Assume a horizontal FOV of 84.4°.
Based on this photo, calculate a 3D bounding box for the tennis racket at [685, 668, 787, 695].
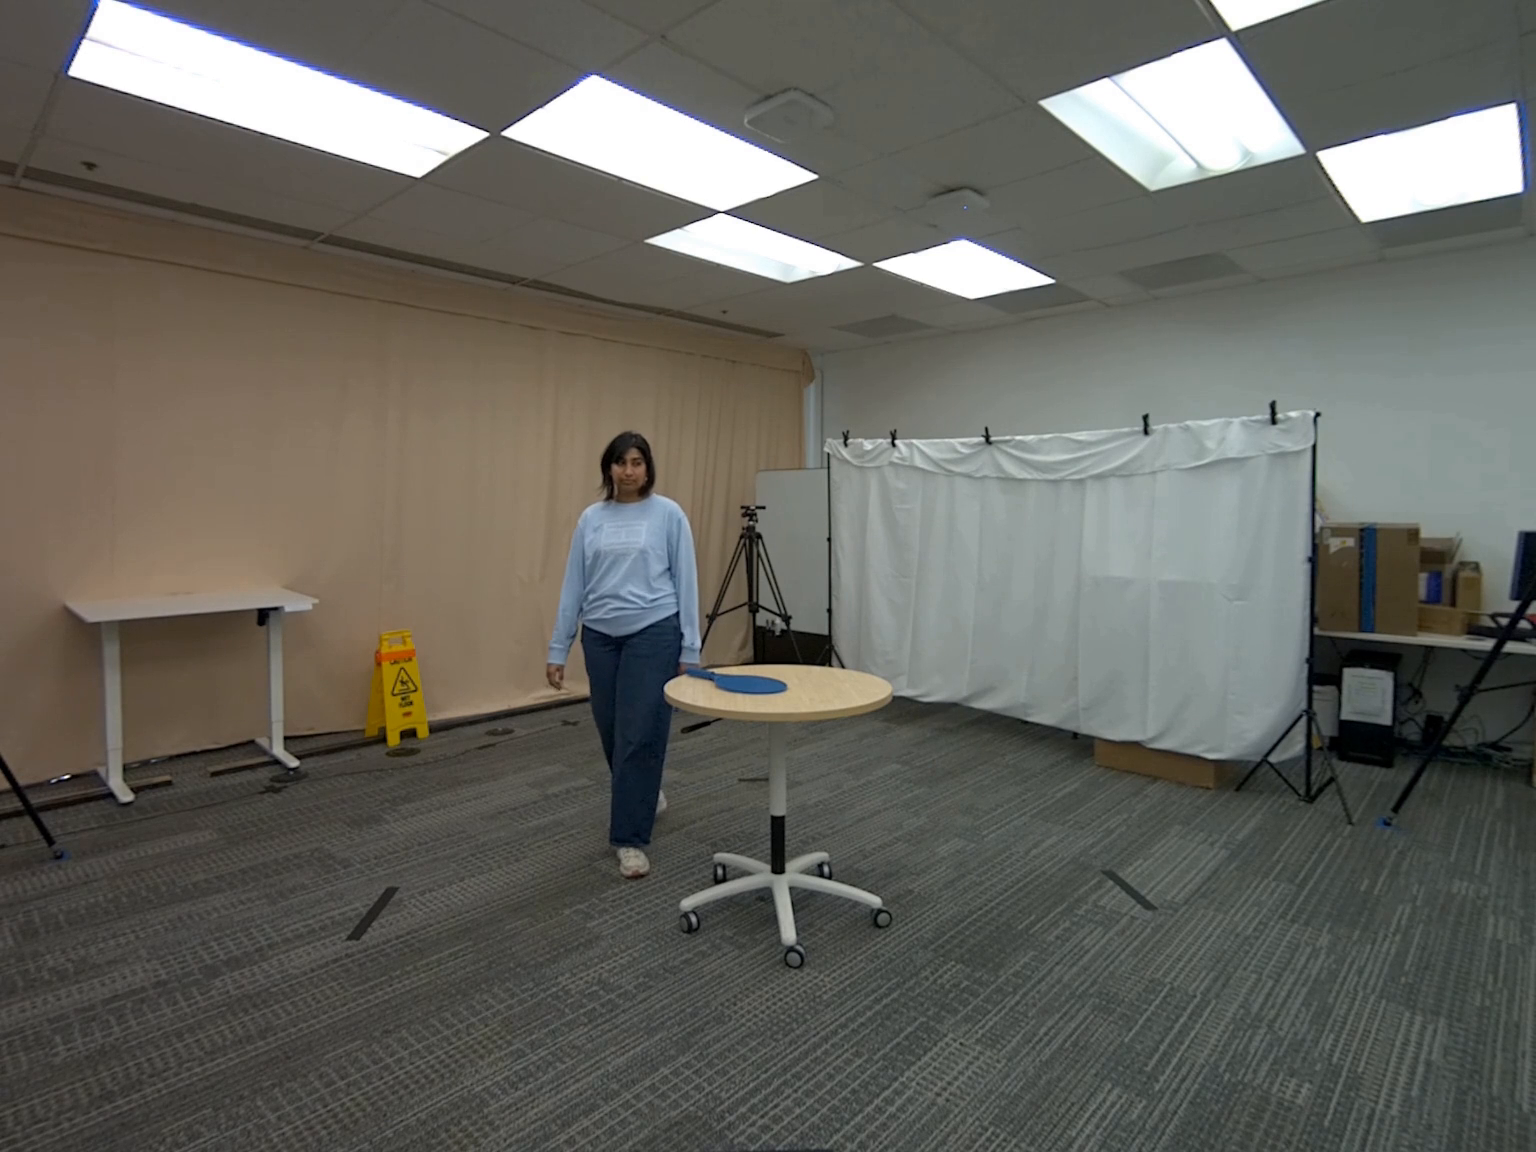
[{"bbox_3d":[-0.114,0.361,2.887,0.447,0.032,0.207,6,6,43],"label":"tennis racket"}]
